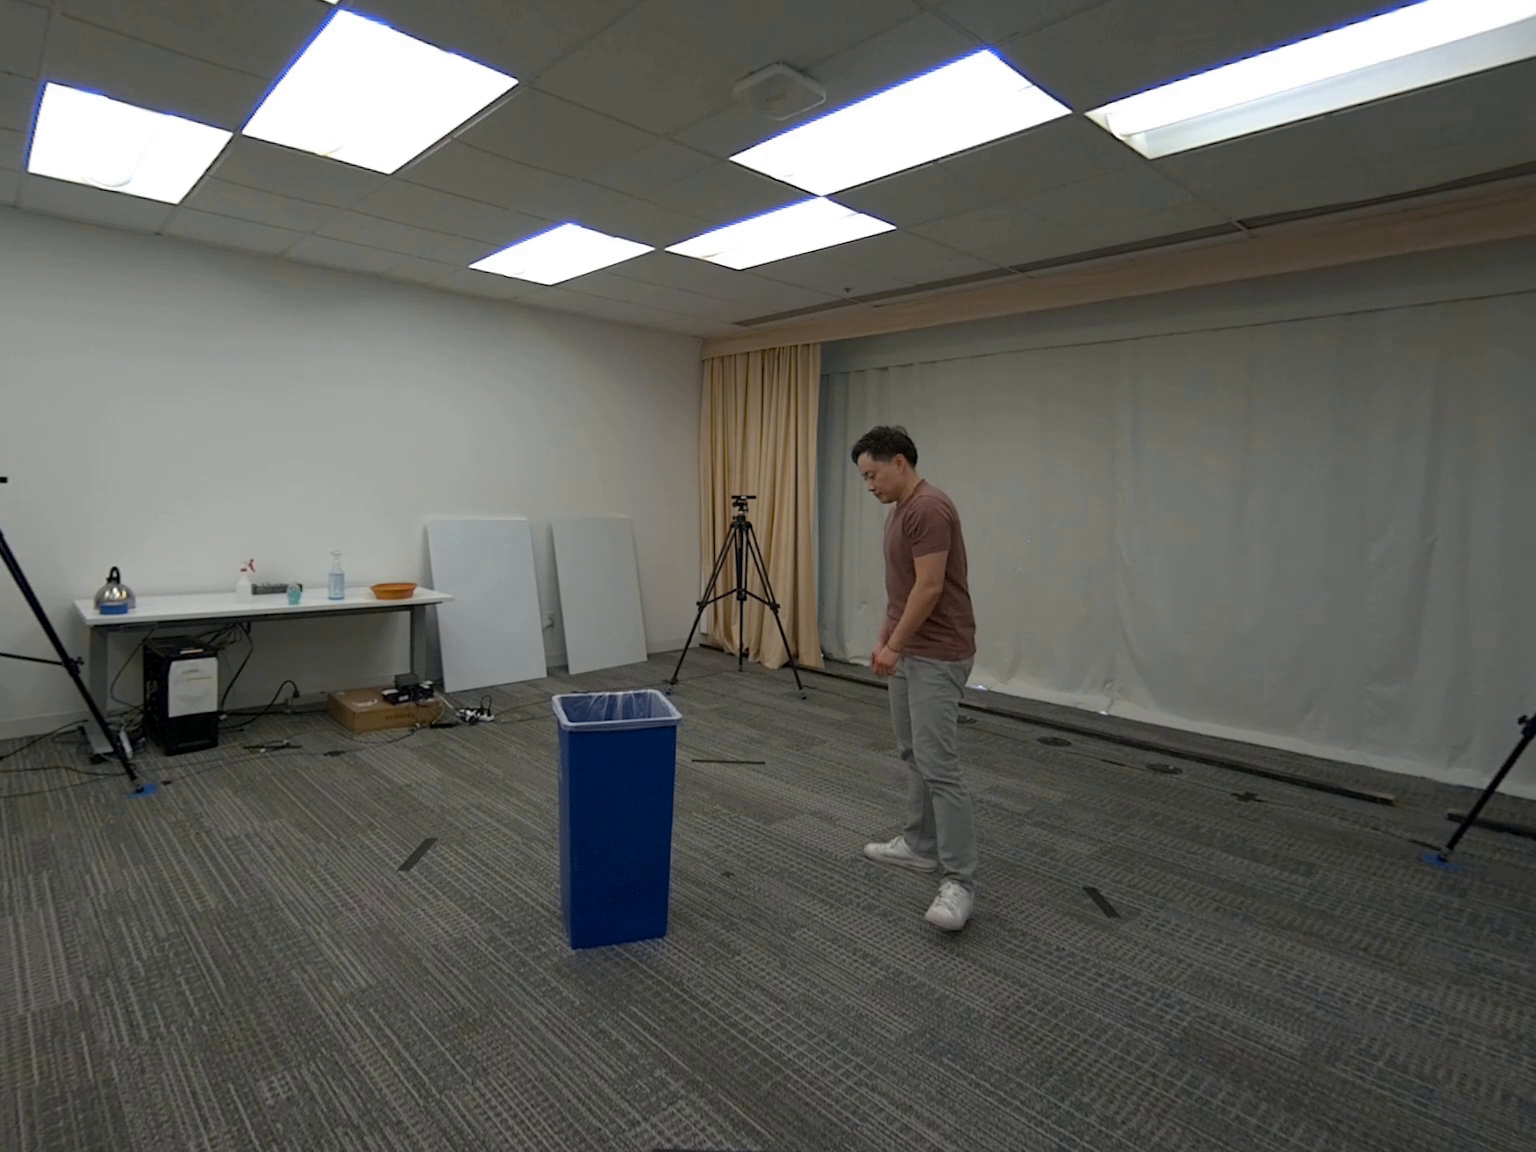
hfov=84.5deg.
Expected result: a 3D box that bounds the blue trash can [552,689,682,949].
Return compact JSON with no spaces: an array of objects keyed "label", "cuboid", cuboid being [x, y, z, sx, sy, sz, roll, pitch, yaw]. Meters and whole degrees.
[{"label":"blue trash can","cuboid":[-0.502,0.769,2.720,0.372,0.712,0.380,0,4,-20]}]
